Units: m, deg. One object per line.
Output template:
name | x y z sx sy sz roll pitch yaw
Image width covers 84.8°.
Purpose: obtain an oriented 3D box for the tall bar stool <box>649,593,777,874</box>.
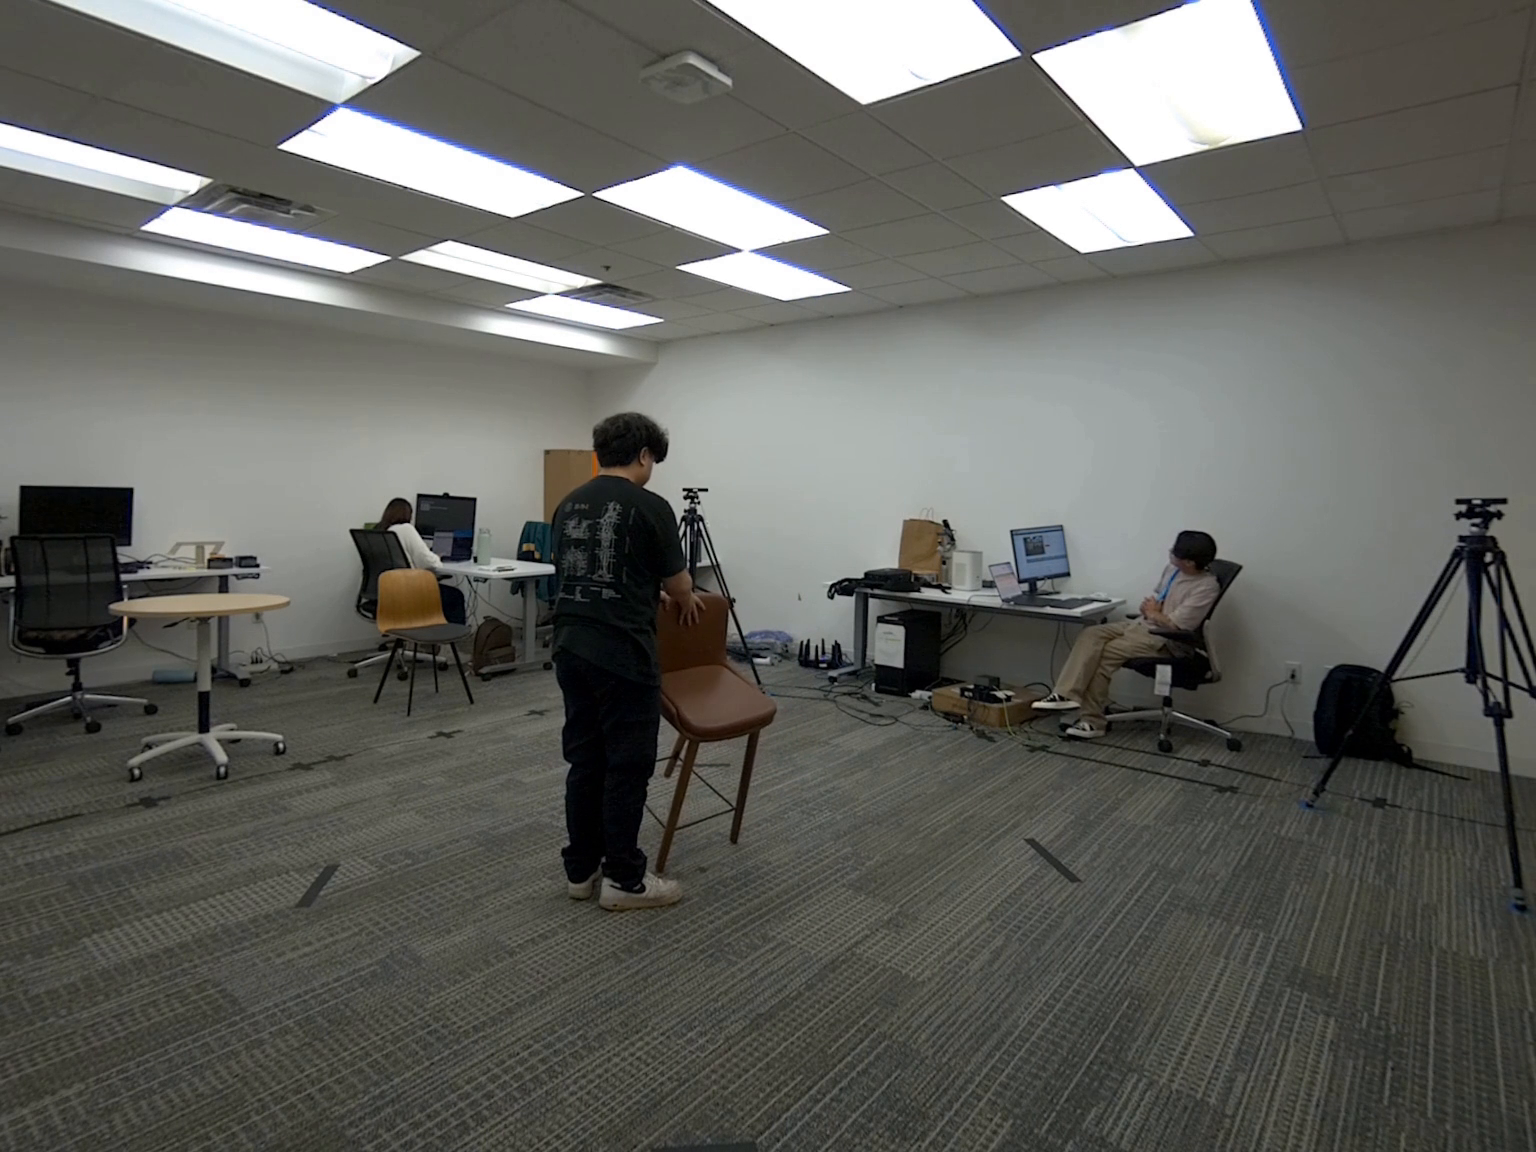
tall bar stool | -0.289 0.567 3.227 0.442 0.880 0.487 -2 25 -46
